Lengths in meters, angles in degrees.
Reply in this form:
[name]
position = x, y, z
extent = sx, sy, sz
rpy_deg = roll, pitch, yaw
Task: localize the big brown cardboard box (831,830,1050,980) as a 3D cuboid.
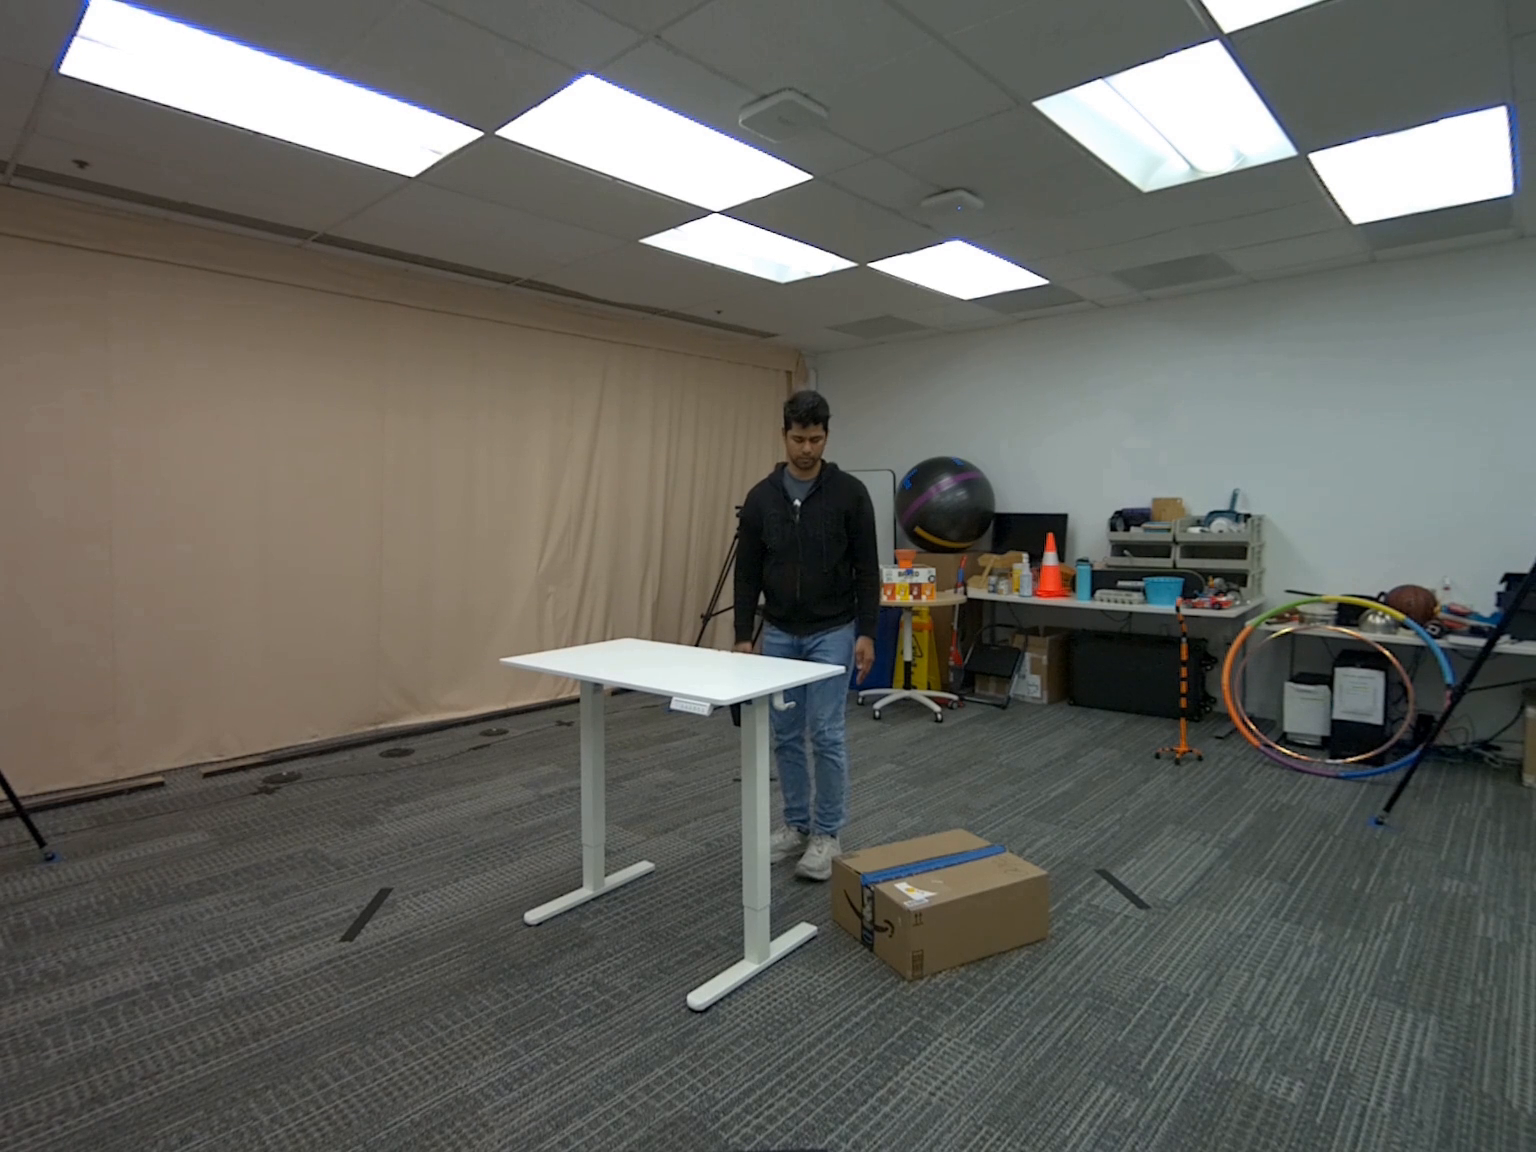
[big brown cardboard box]
position = 0.560, 1.051, 2.758
extent = 0.574, 0.232, 0.429
rpy_deg = -2, 5, -28
